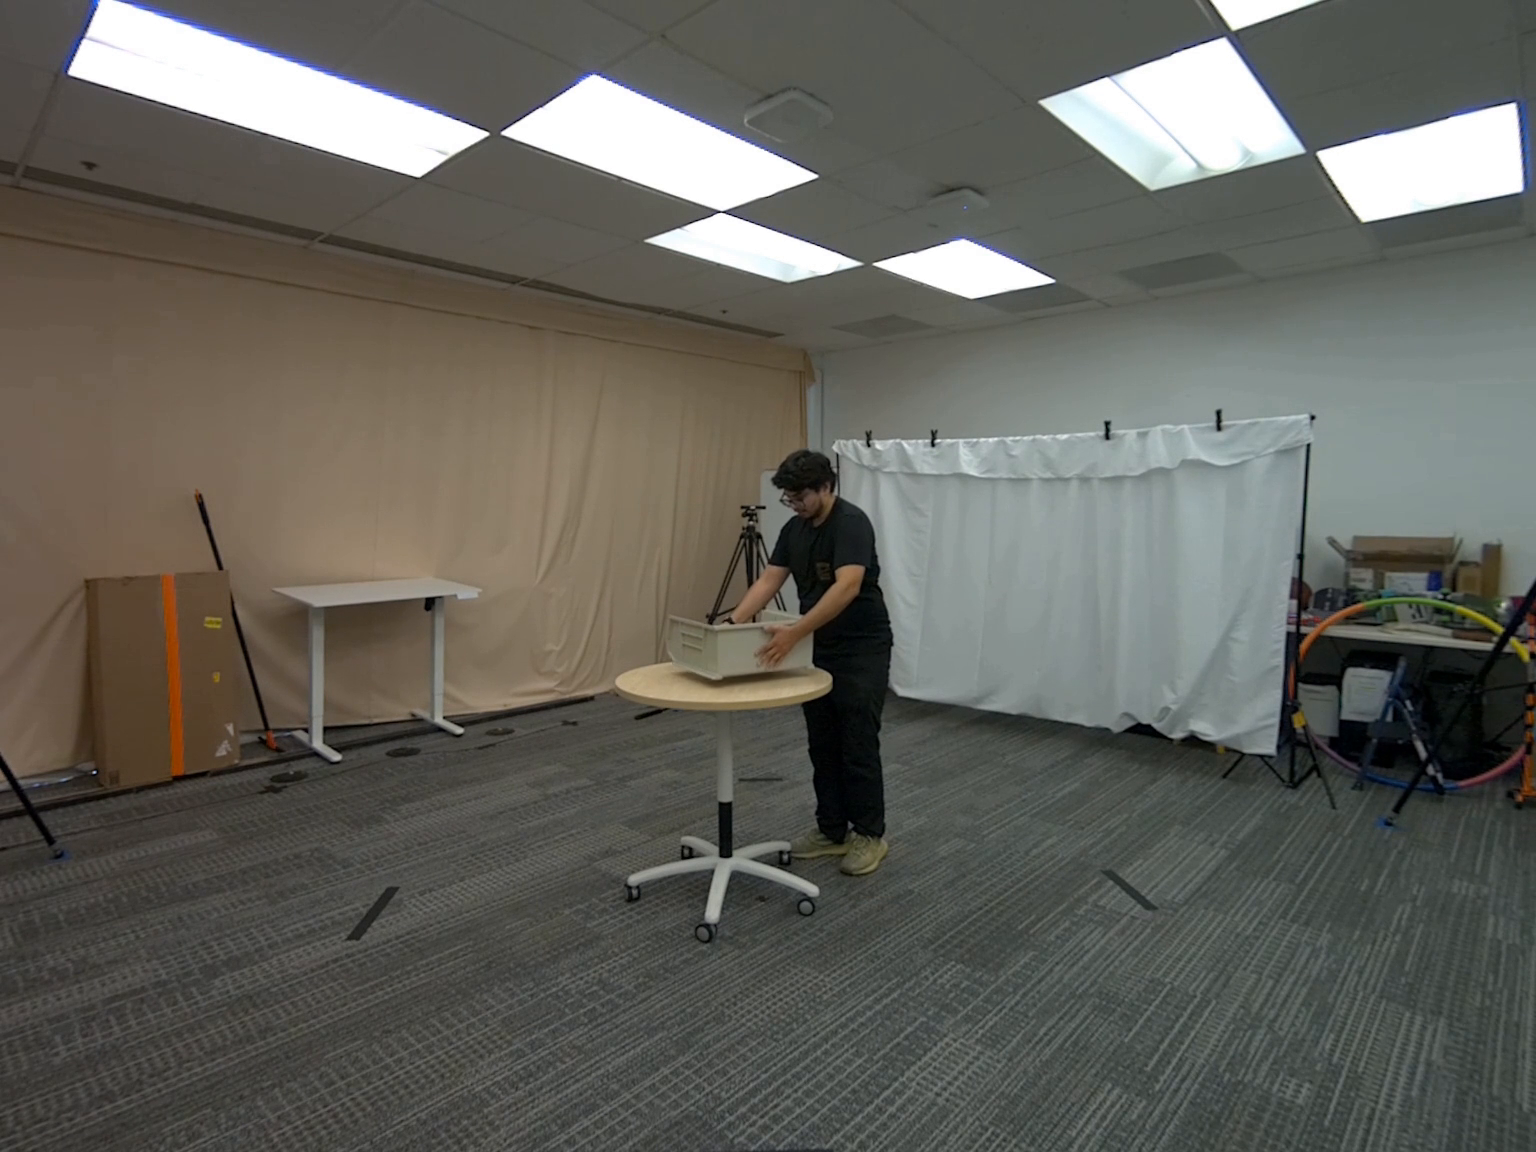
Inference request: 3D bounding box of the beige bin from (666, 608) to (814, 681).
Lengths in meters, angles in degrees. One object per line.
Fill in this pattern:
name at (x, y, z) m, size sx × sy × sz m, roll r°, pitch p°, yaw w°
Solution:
beige bin at (-0.100, 0.233, 3.029) m, size 0.411 × 0.188 × 0.389 m, roll -2°, pitch 7°, yaw -31°
